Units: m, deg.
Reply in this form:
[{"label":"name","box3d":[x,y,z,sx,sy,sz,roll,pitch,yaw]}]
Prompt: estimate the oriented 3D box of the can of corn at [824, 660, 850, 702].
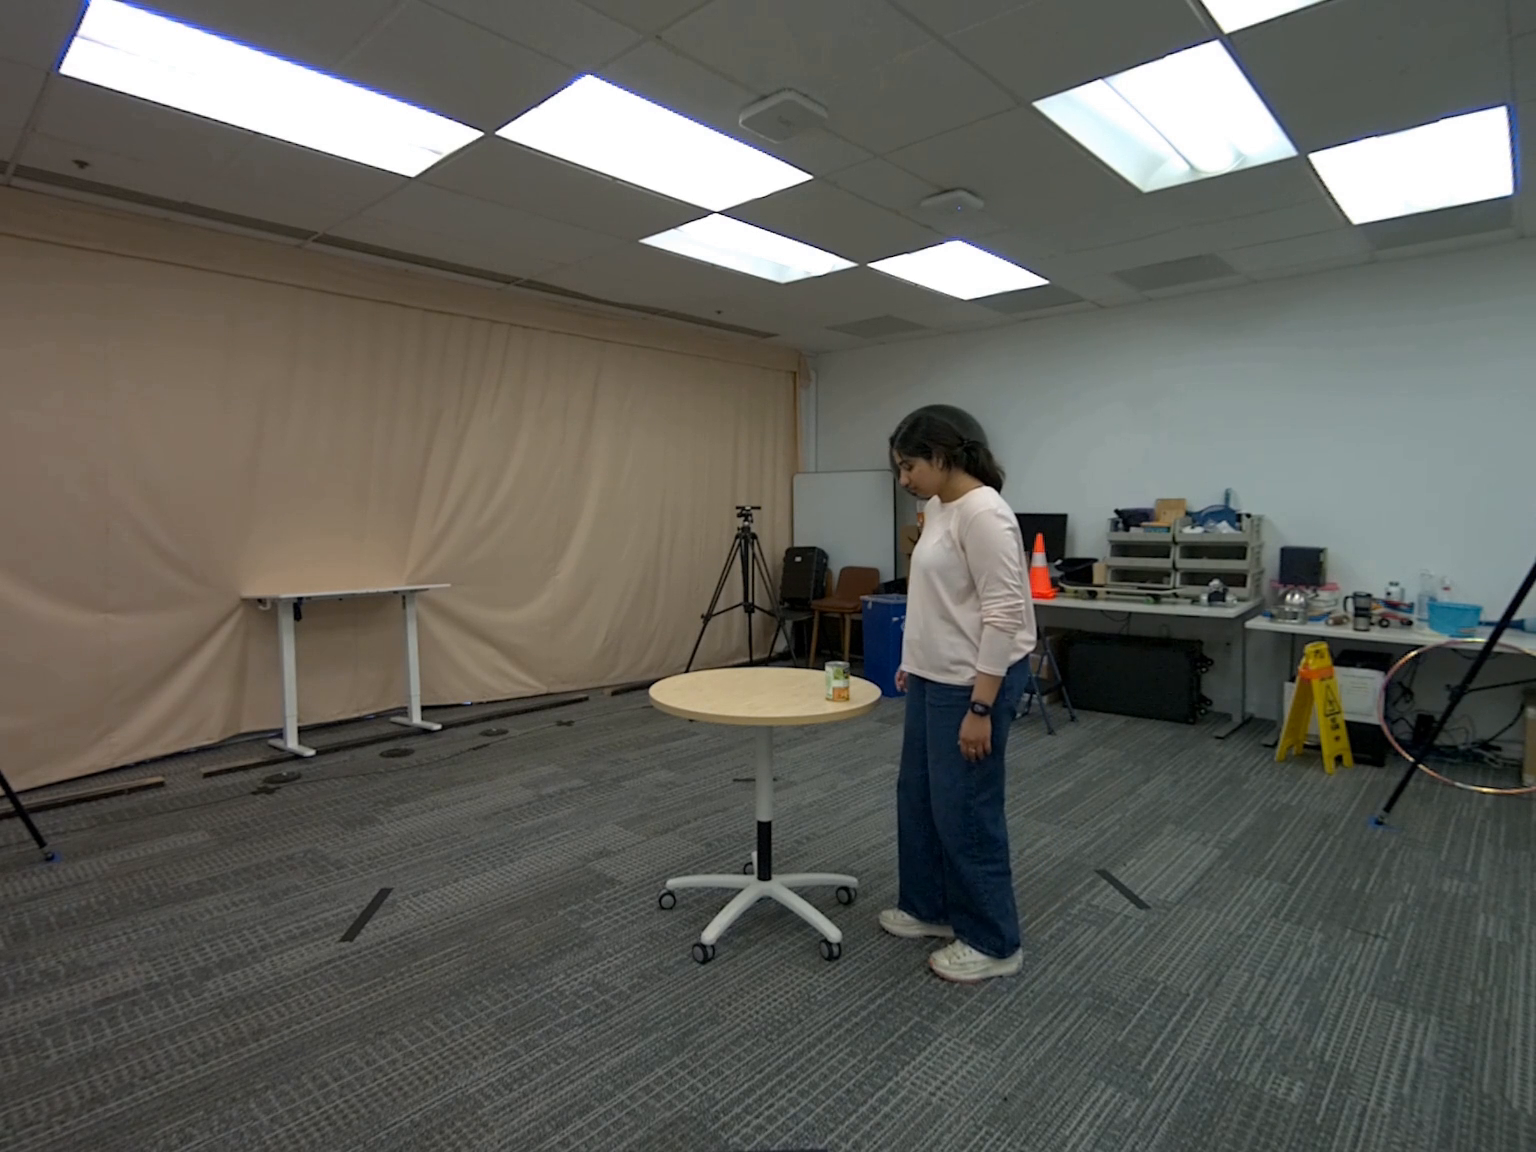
[{"label":"can of corn","box3d":[0.227,0.332,2.636,0.074,0.111,0.074,1,2,-2]}]
